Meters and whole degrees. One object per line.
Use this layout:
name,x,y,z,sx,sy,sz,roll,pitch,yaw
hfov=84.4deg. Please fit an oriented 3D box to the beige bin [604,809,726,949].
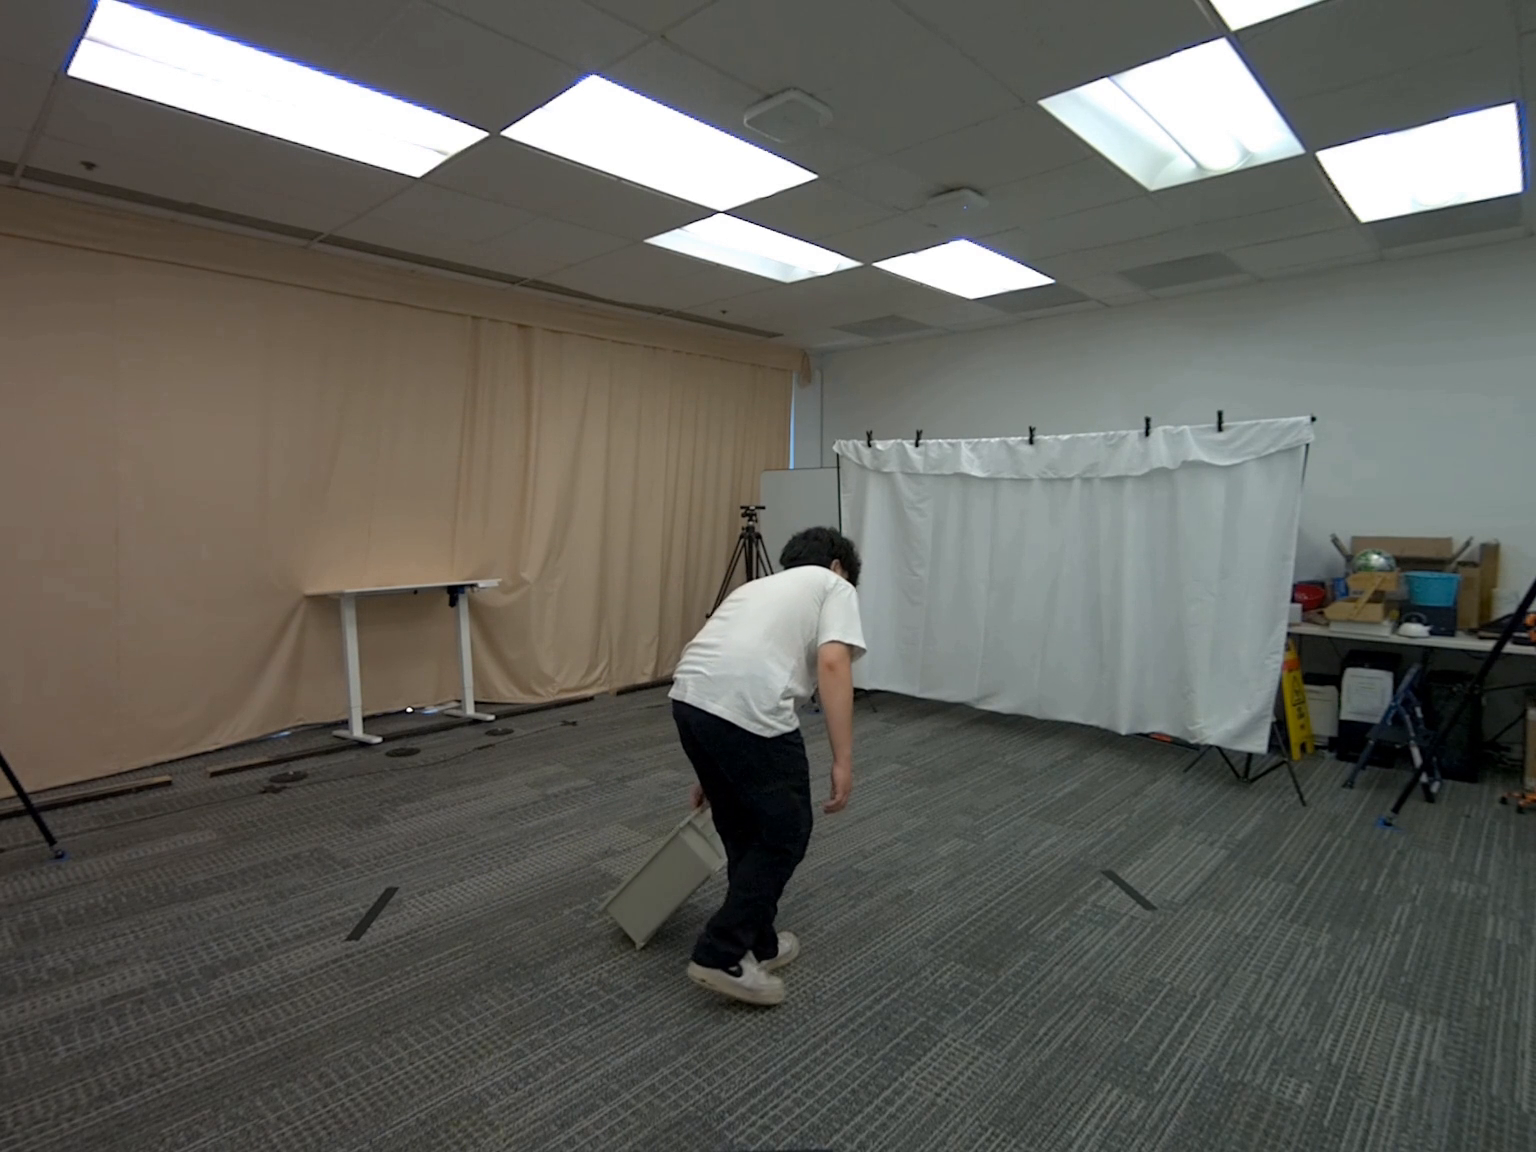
beige bin,-0.286,0.953,2.753,0.424,0.191,0.371,-47,-9,17
